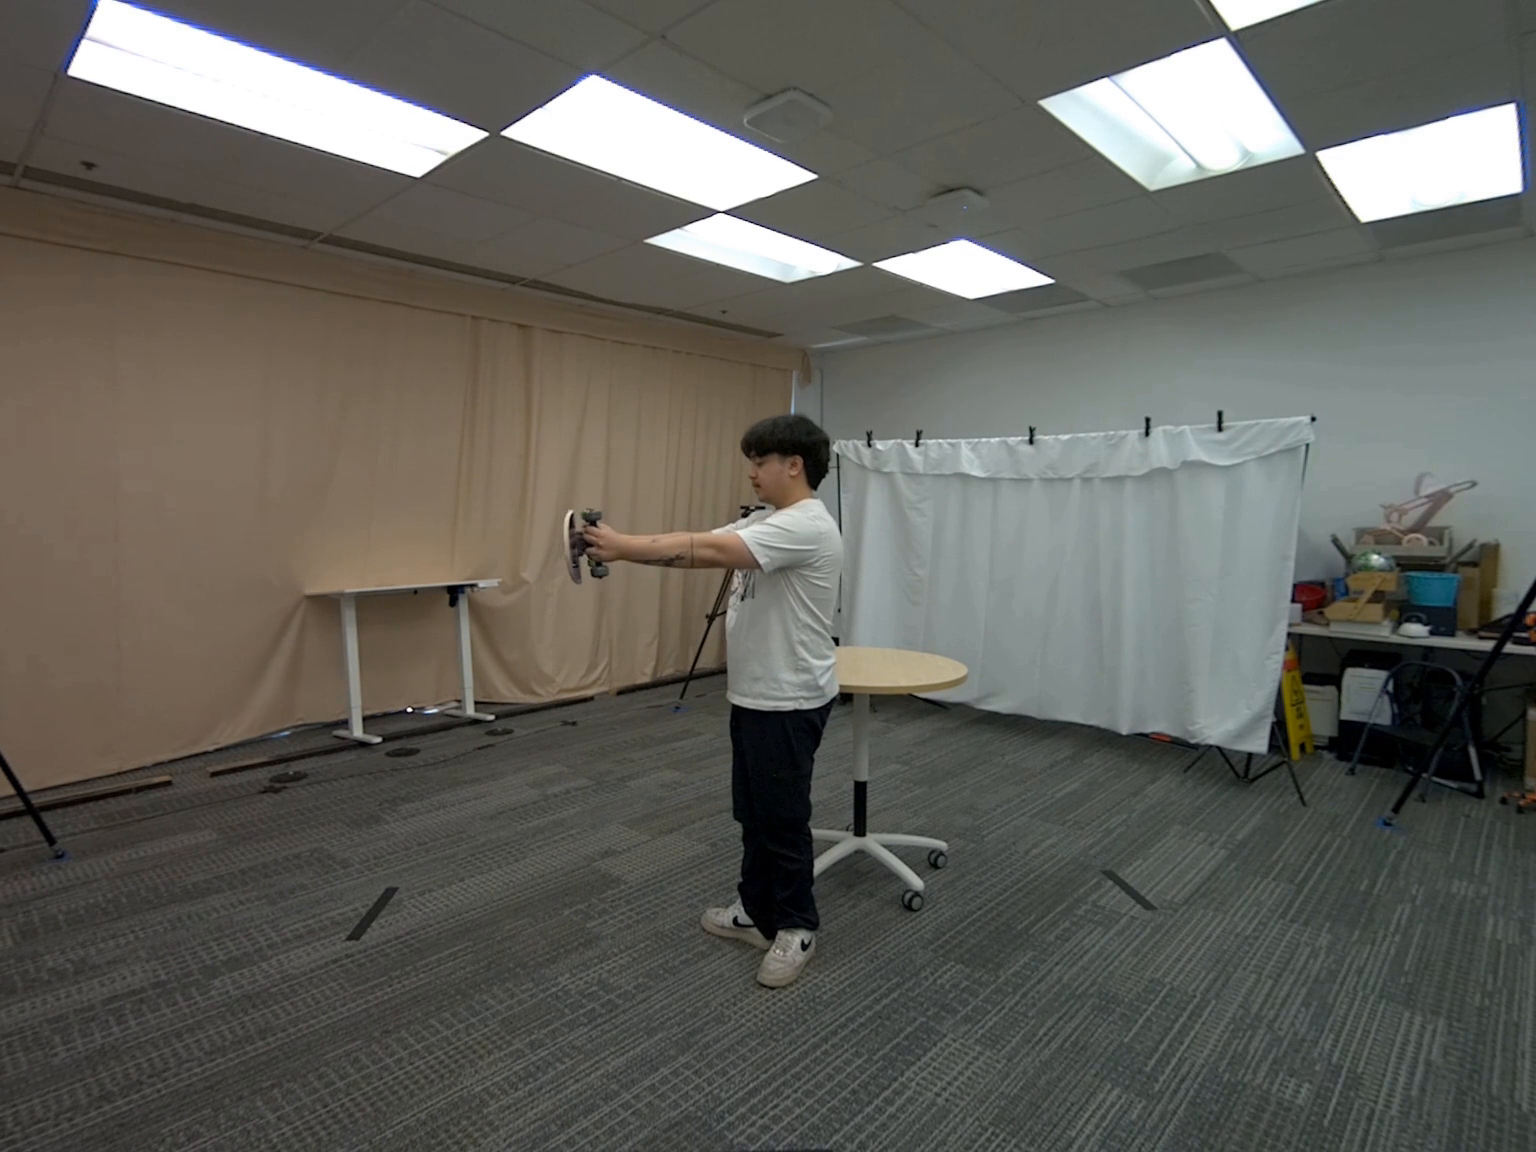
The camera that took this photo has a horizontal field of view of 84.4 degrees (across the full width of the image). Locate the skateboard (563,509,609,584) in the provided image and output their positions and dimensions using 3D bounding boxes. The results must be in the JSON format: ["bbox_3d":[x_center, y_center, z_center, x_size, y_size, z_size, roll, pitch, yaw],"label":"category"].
[{"bbox_3d":[-0.543,-0.096,2.491,0.109,0.193,0.798,-6,5,-14],"label":"skateboard"}]
